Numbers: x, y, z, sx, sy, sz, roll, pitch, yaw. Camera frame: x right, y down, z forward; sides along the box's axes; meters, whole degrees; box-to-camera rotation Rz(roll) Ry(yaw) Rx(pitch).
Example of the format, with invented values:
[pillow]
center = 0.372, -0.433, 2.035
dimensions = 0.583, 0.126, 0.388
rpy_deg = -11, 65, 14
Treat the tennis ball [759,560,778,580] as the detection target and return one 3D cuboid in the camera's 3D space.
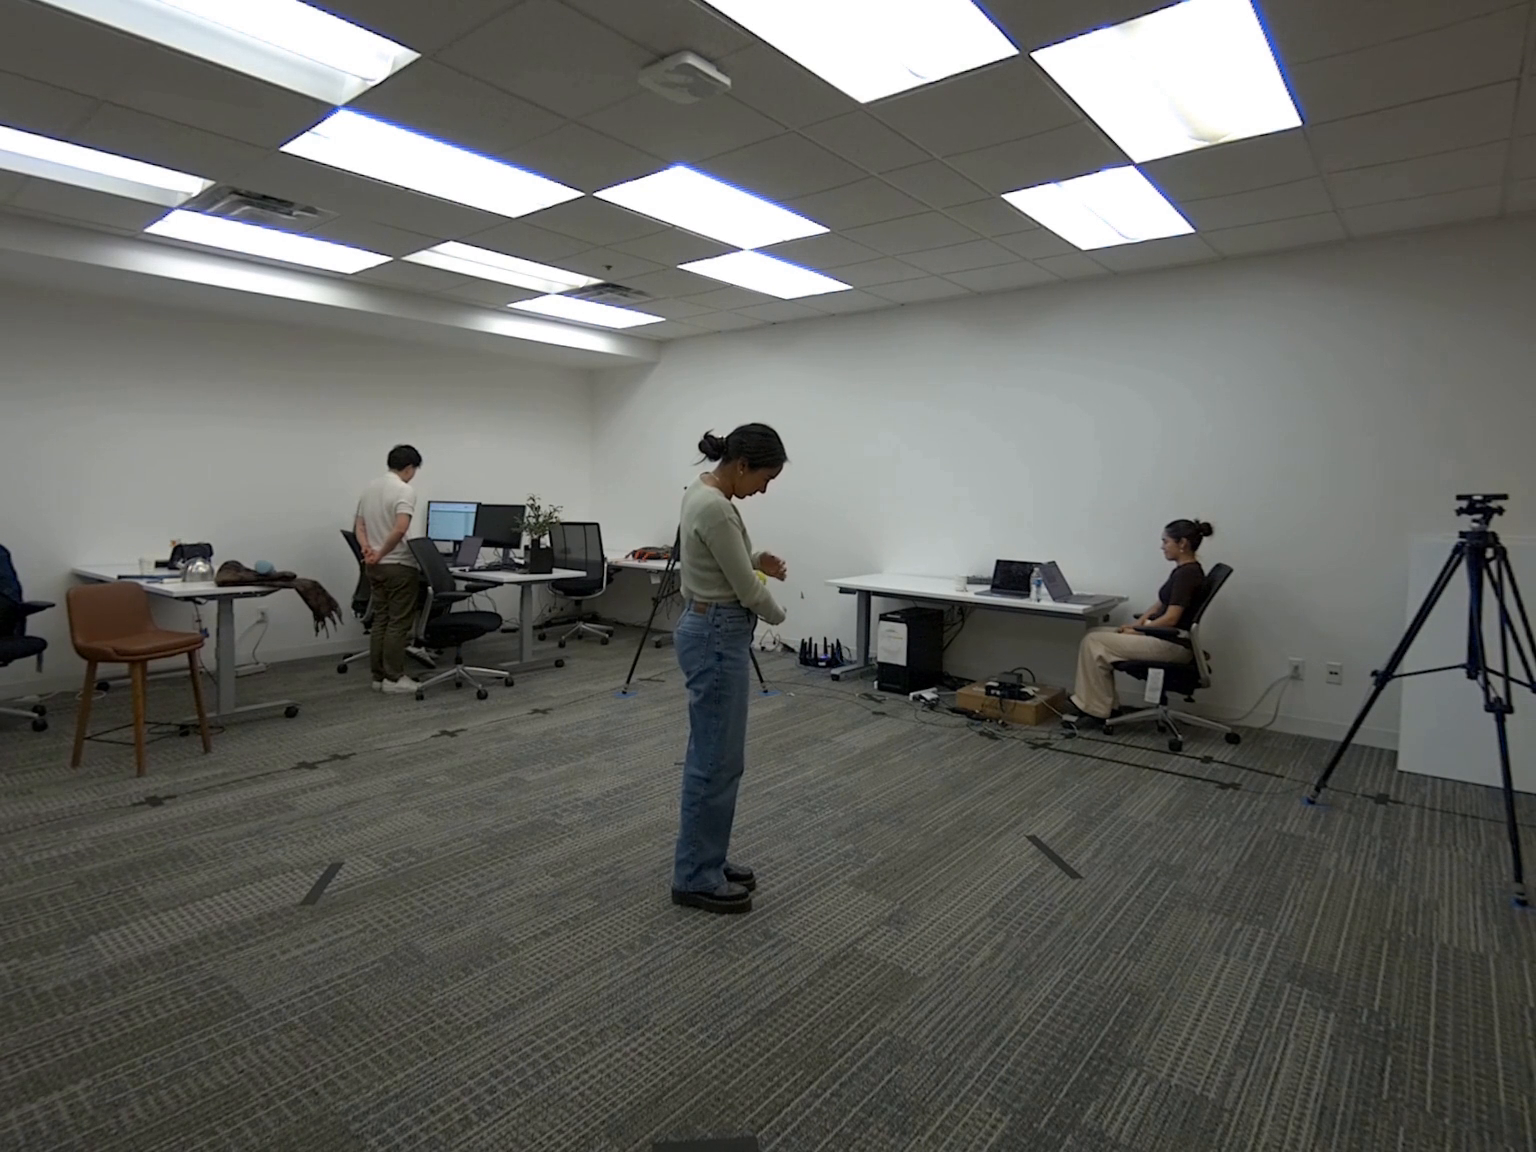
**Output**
[tennis ball]
center = -0.031, 0.013, 2.844
dimensions = 0.066, 0.066, 0.067
rpy_deg = 1, 4, -2
